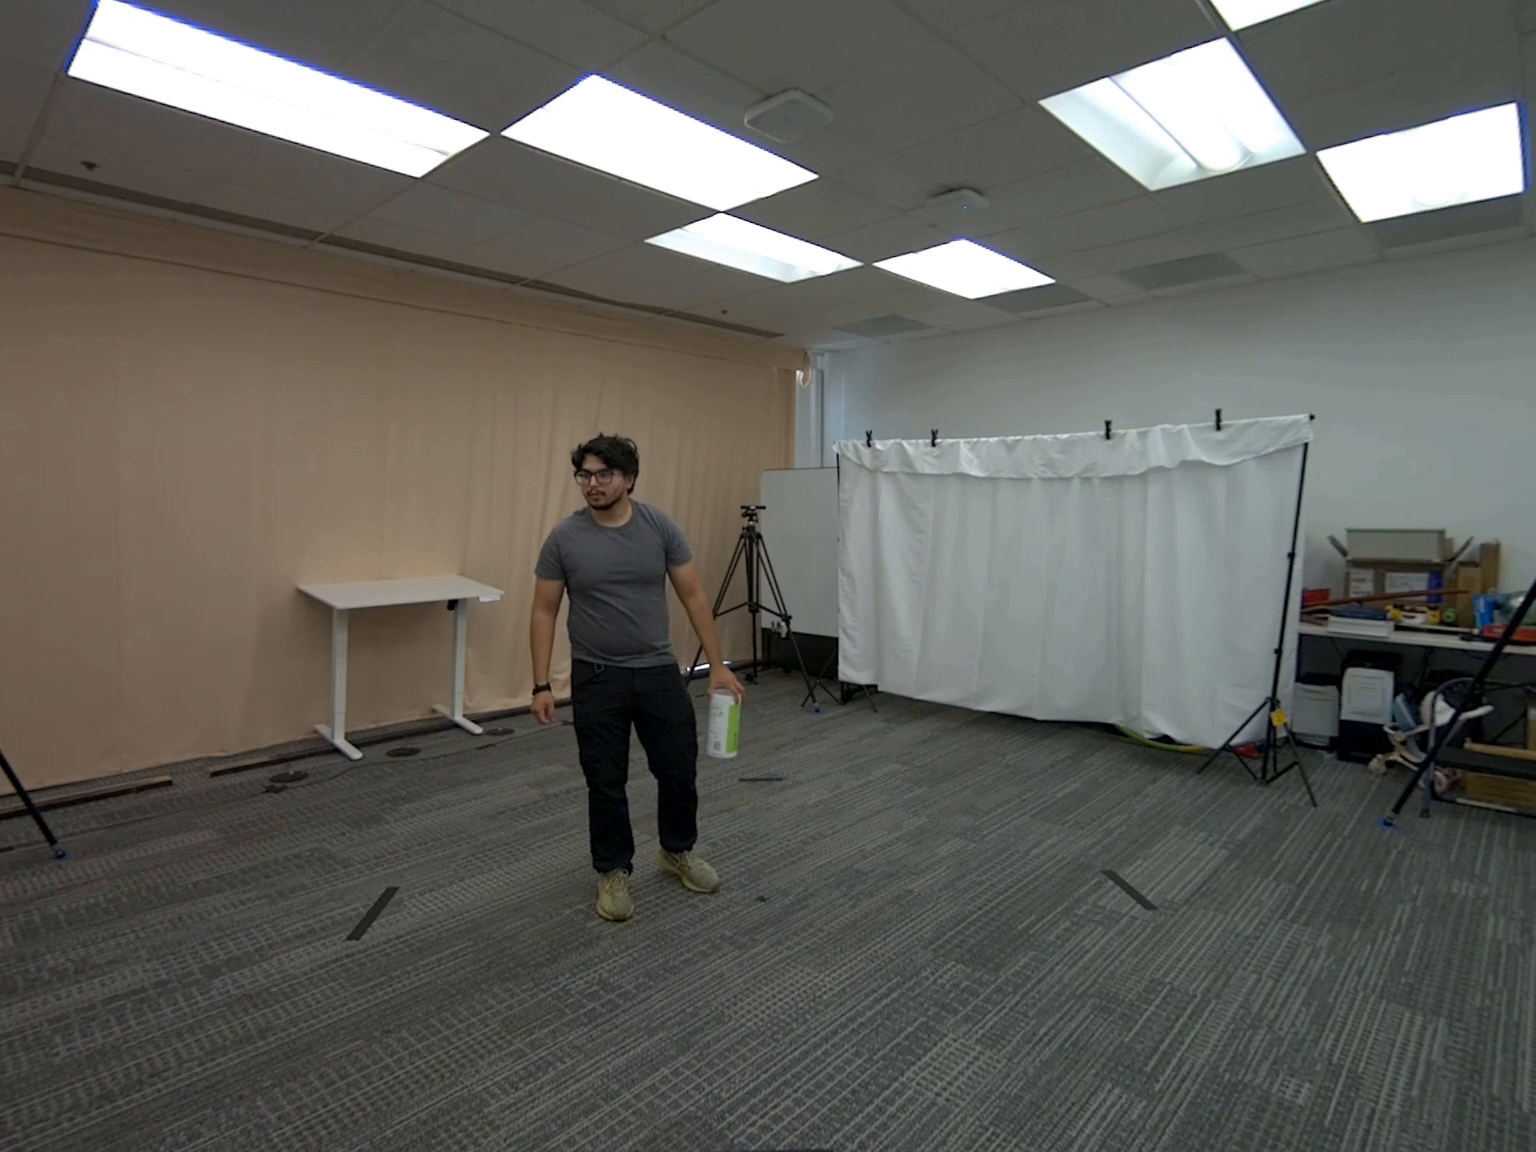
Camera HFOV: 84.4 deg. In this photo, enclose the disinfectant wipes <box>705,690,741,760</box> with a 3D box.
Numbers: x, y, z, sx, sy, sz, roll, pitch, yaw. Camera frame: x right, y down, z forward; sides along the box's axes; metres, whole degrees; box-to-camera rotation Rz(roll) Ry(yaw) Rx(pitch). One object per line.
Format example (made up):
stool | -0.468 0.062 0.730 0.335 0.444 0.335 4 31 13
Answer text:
disinfectant wipes | -0.149 0.513 2.872 0.117 0.217 0.118 4 4 -2
